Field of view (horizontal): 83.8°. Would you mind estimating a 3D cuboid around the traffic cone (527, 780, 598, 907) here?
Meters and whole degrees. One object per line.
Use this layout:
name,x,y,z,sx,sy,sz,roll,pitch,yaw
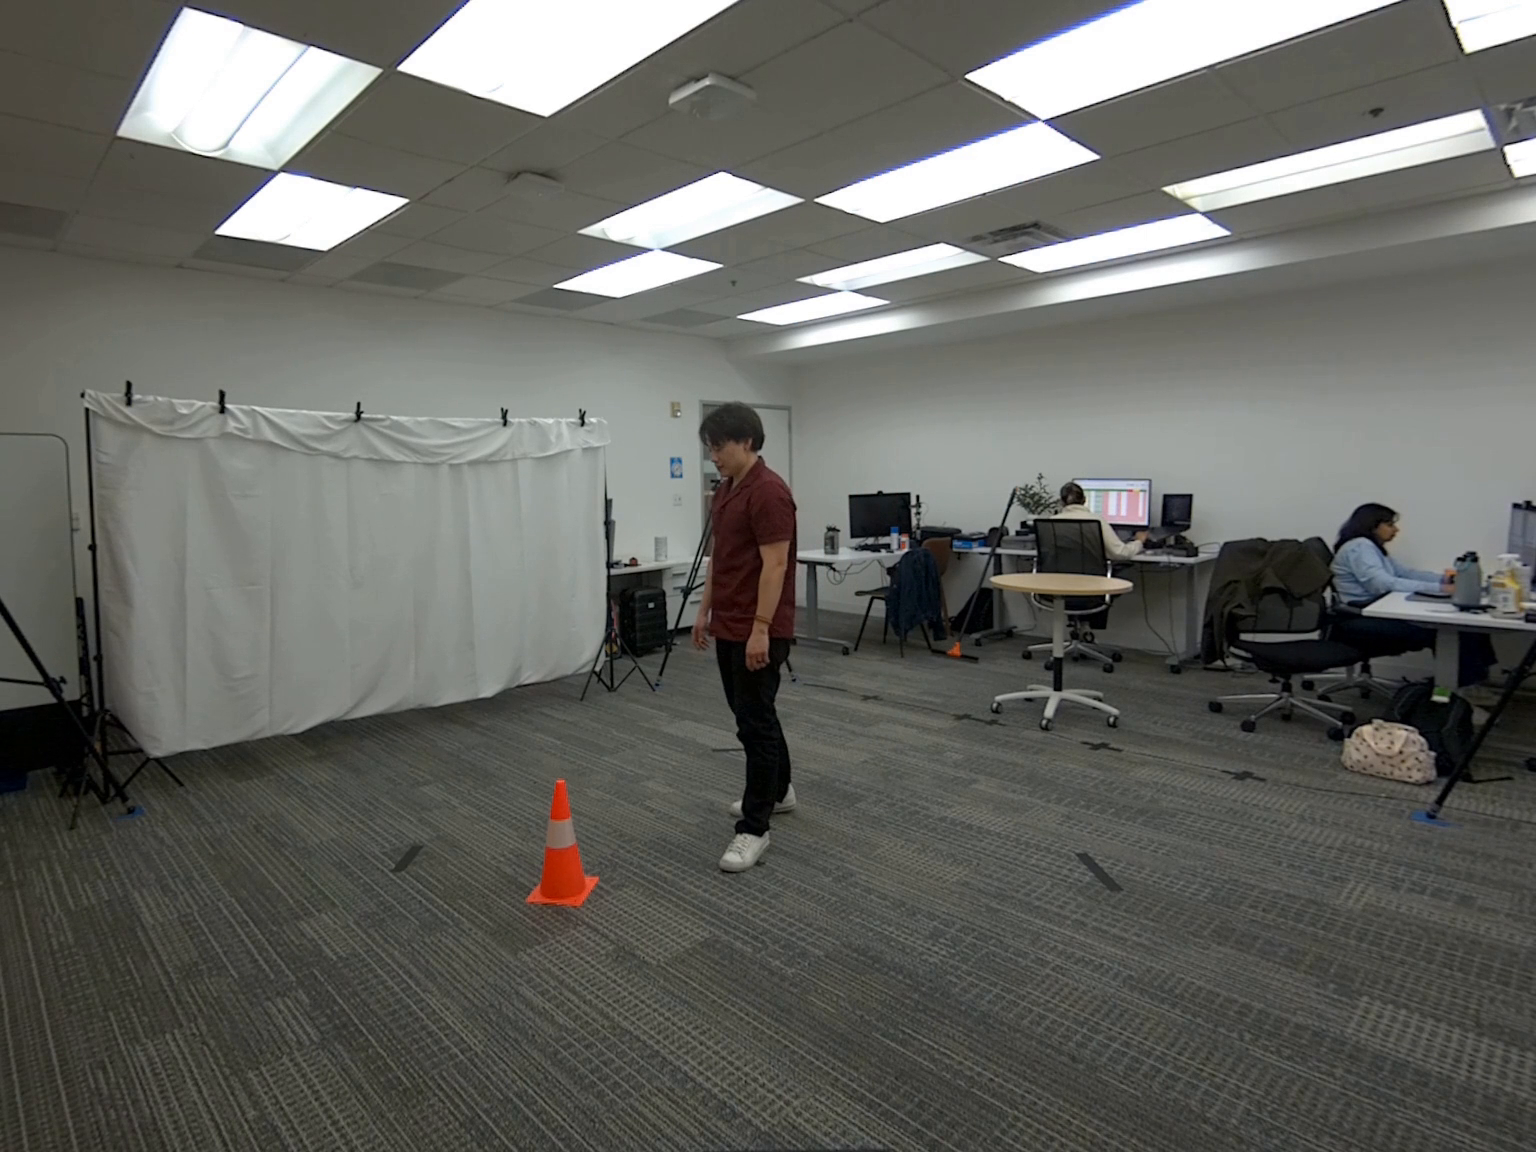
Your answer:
traffic cone,-0.713,0.897,2.922,0.206,0.382,0.203,-1,5,12
